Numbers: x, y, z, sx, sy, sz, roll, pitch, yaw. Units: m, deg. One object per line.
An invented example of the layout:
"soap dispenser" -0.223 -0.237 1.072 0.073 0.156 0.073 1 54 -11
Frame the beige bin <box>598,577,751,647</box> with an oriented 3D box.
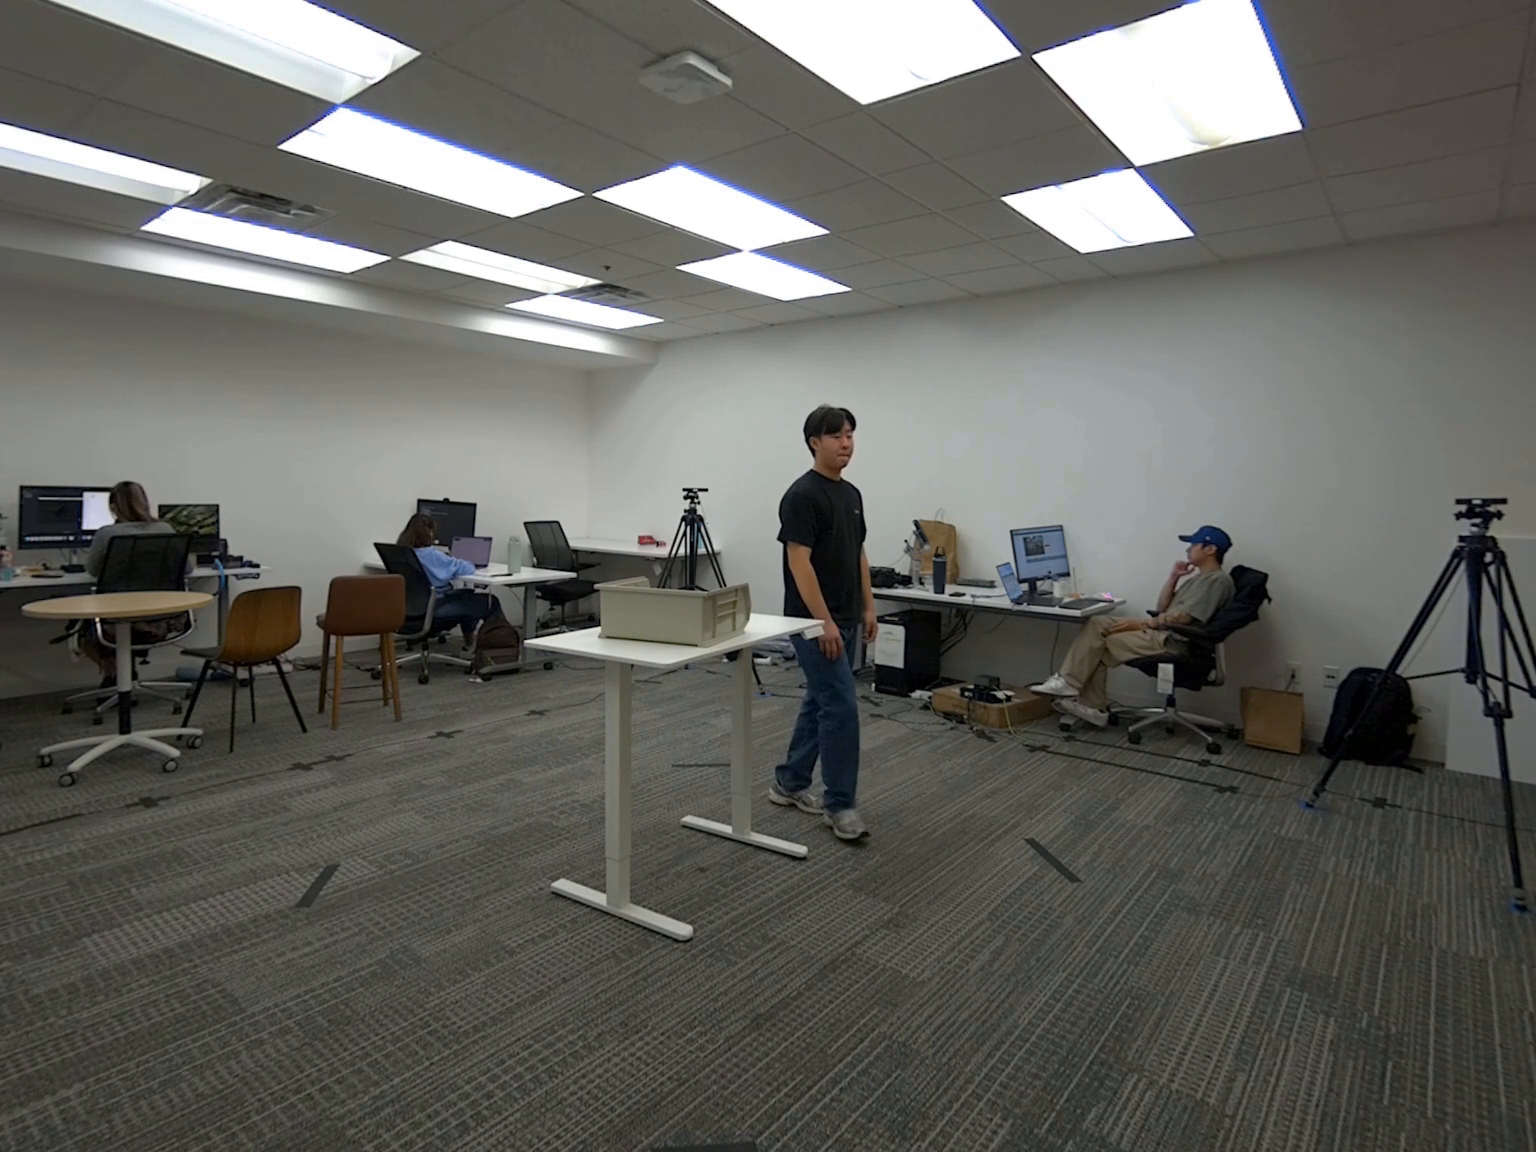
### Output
"beige bin" -0.331 0.115 2.939 0.433 0.188 0.370 3 7 23
